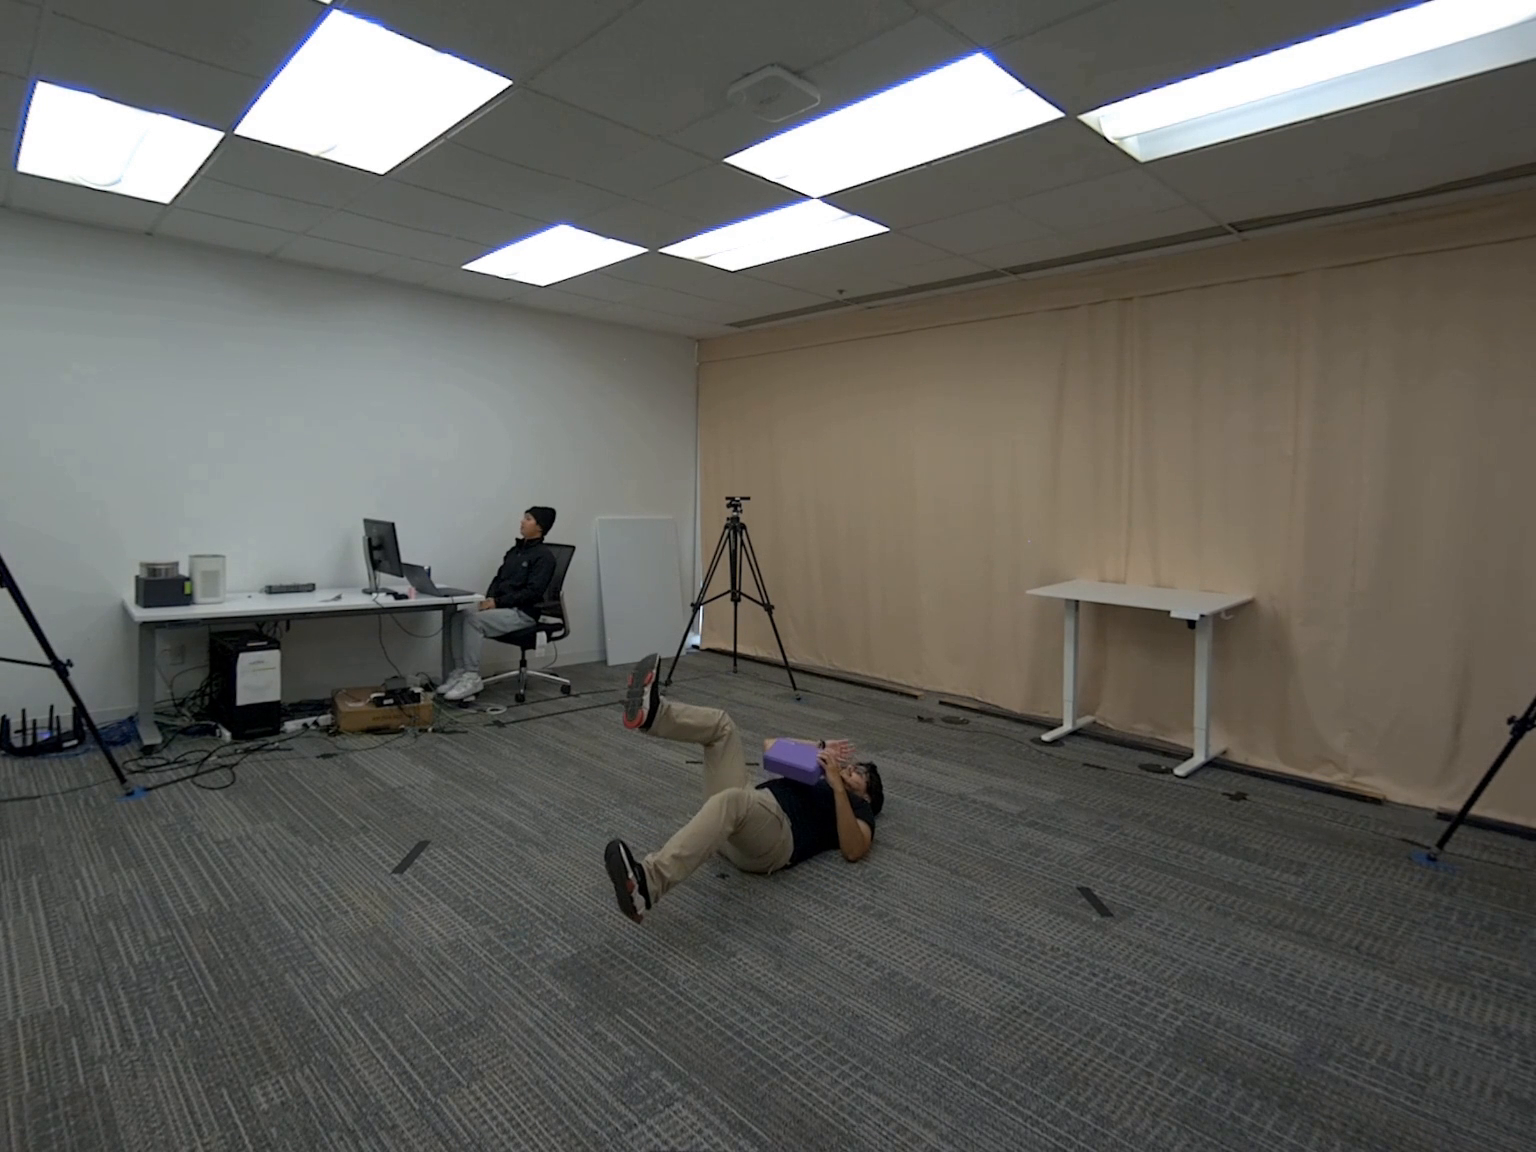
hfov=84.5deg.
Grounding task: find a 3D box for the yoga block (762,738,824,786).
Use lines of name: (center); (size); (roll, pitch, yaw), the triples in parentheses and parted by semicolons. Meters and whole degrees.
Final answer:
yoga block: (0.102, 0.742, 3.337); (0.234, 0.075, 0.148); (9, 25, 27)
